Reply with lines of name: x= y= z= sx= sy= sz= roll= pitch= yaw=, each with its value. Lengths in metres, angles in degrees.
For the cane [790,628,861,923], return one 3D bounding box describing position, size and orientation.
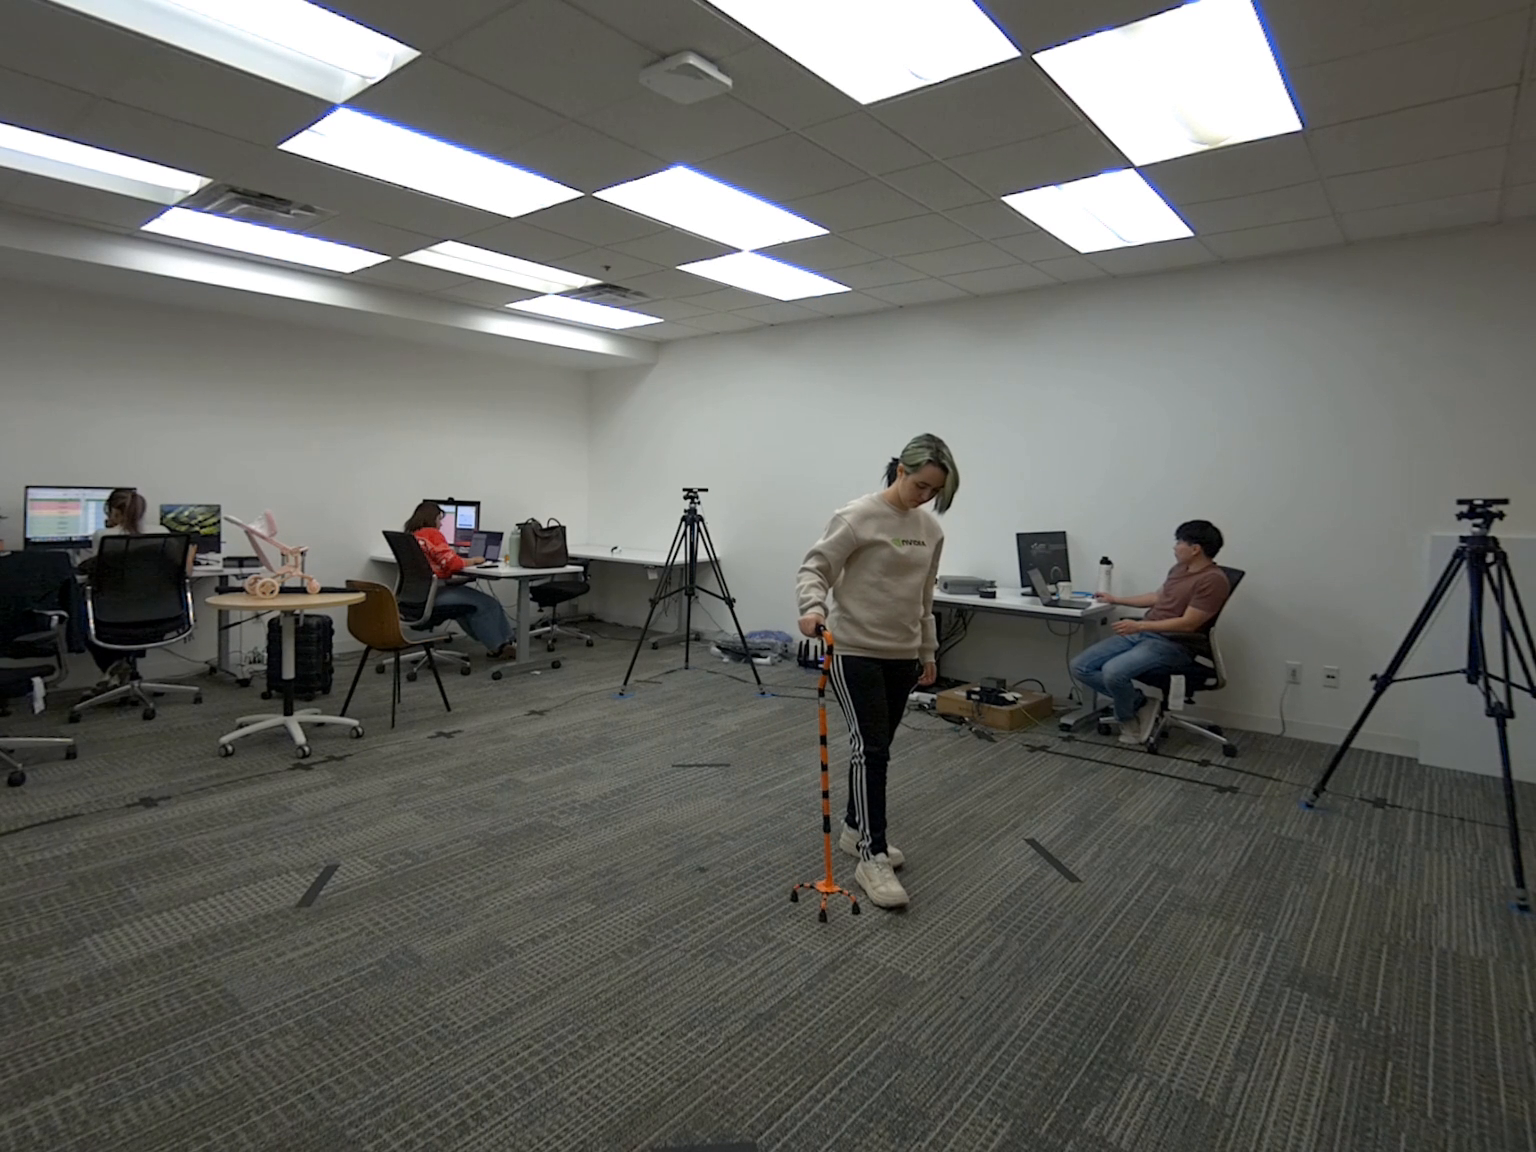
cane: x=0.159 y=0.619 z=2.763 sx=0.148 sy=0.909 sz=0.211 roll=-1 pitch=-2 yaw=-29
